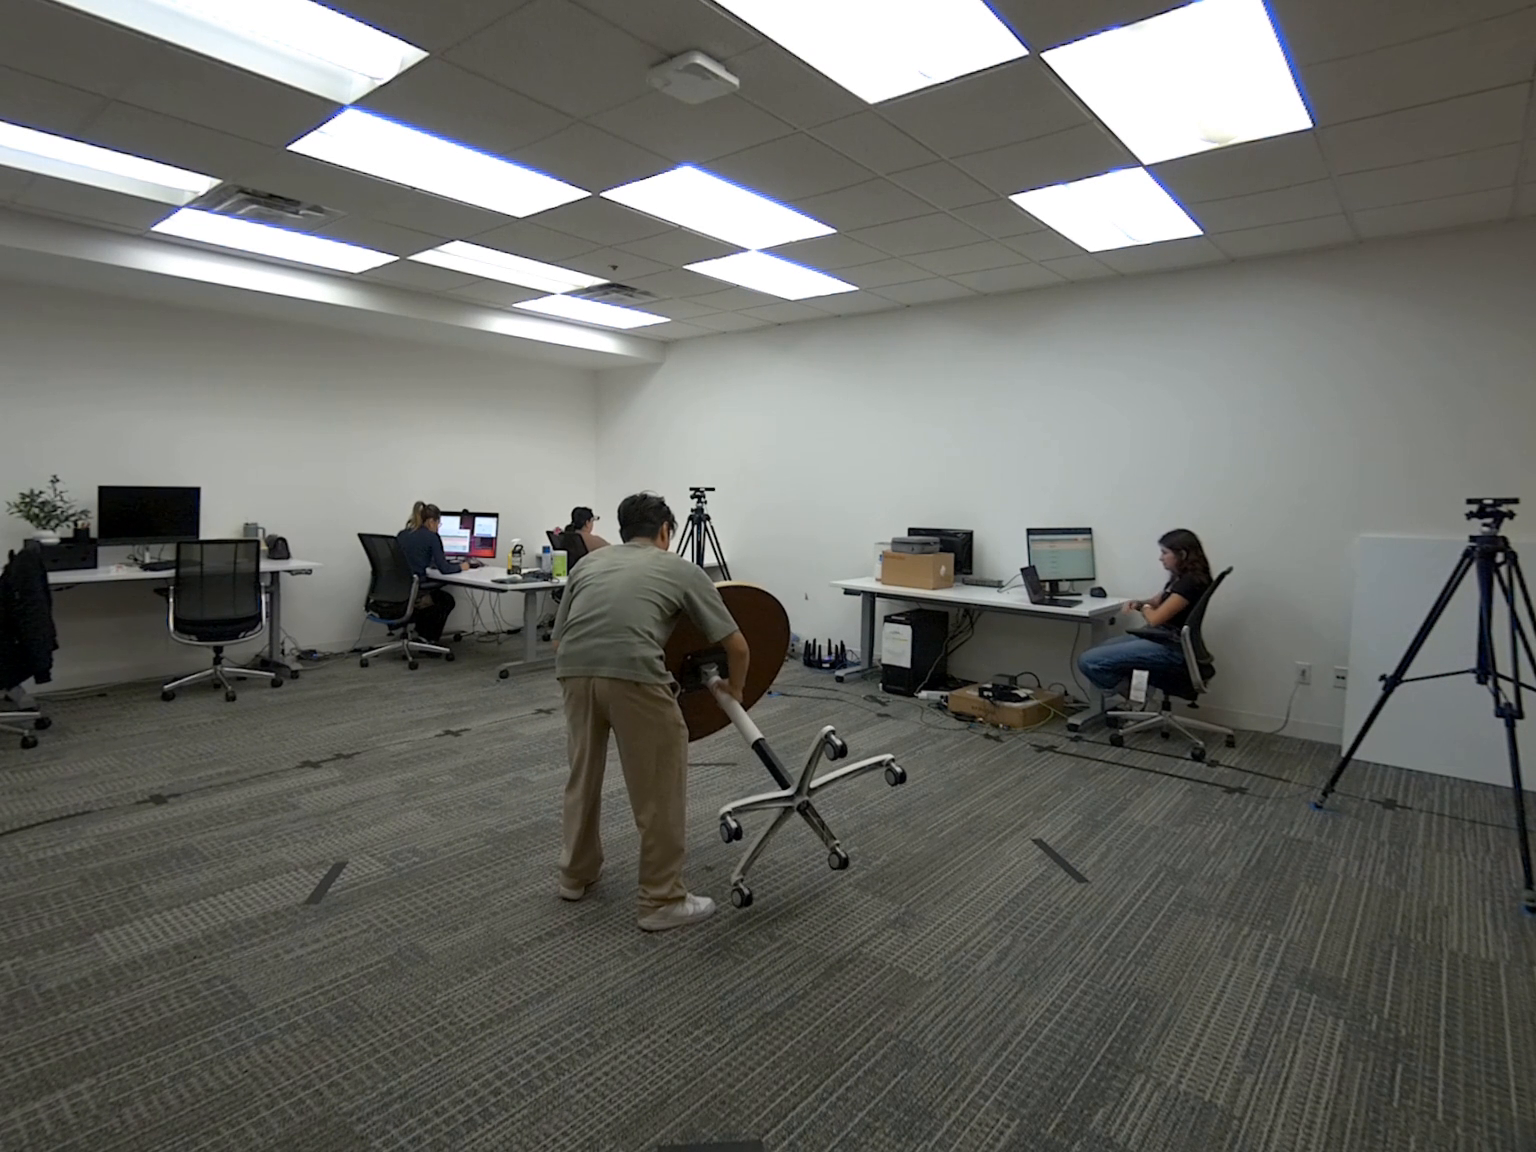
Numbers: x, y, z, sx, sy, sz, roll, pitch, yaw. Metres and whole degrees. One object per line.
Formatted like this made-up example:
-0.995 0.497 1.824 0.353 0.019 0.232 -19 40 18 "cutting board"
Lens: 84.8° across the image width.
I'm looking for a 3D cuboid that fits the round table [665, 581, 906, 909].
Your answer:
-0.060 0.567 2.943 0.763 0.774 0.820 -2 34 -34 "round table"
